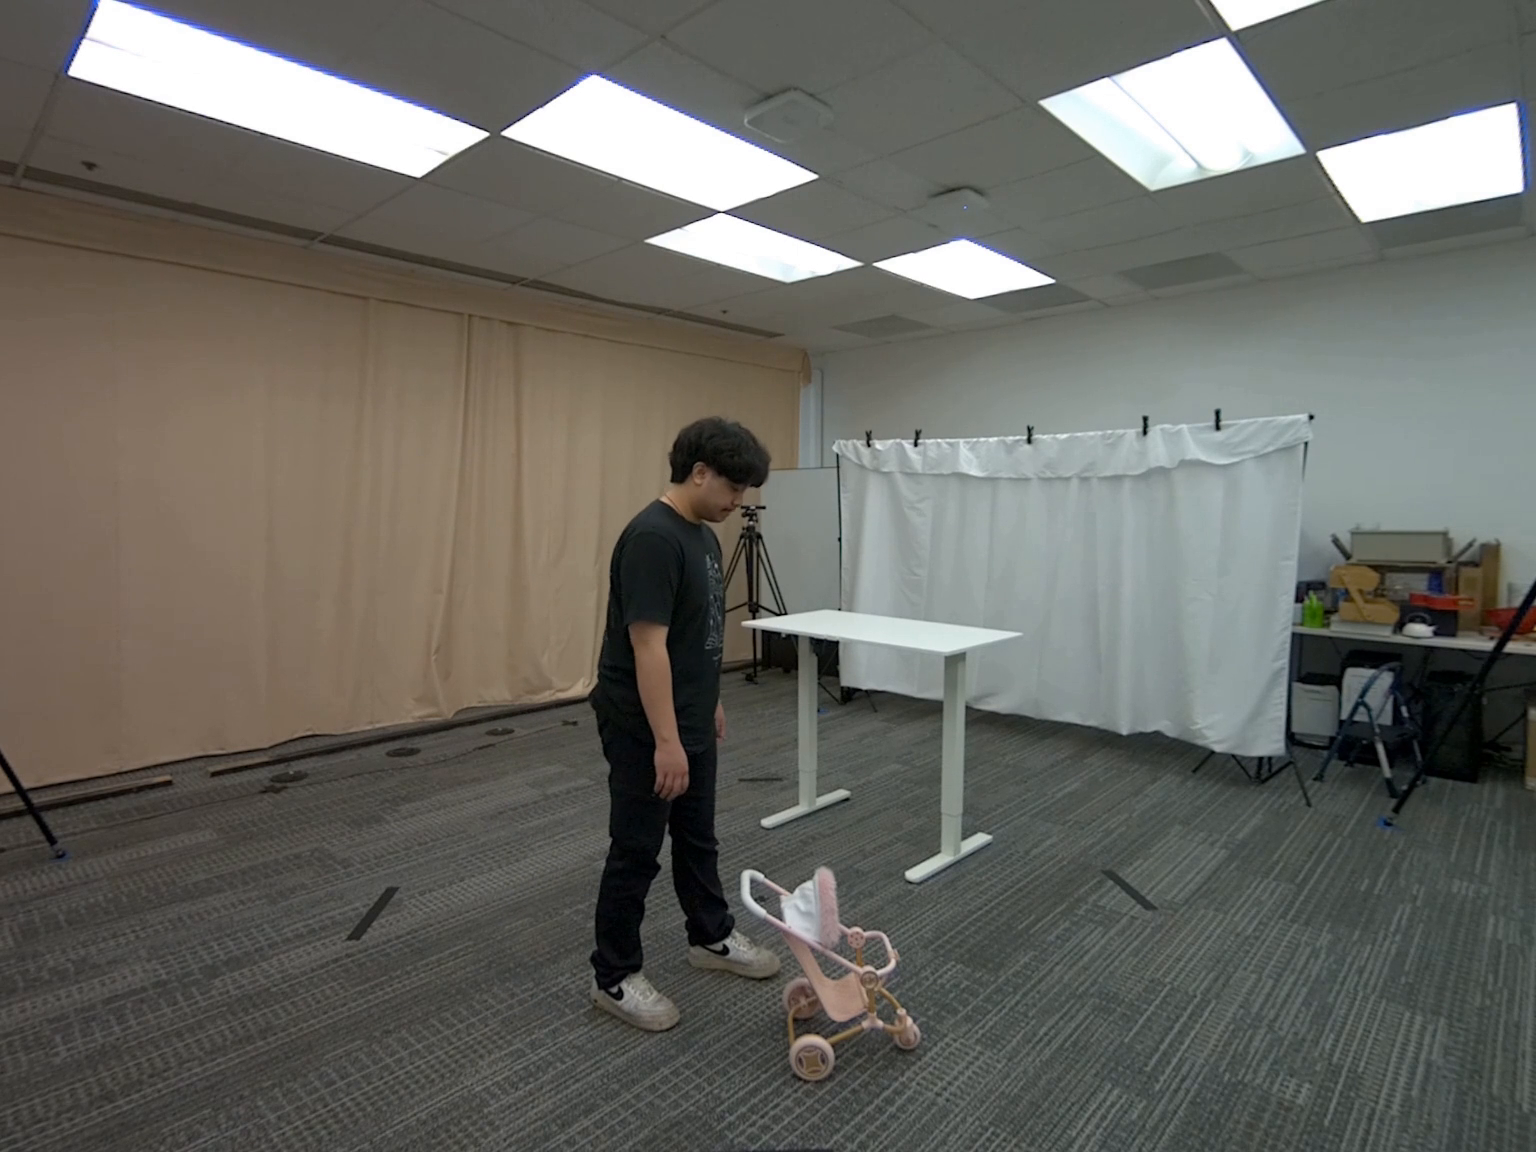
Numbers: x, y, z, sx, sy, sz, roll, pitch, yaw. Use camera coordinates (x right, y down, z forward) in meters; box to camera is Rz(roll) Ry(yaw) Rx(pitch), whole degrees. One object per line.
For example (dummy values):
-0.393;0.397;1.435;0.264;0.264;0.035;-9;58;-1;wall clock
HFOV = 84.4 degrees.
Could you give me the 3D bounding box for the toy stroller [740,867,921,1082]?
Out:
0.168;0.997;2.136;0.343;0.533;0.281;-15;3;6;toy stroller
